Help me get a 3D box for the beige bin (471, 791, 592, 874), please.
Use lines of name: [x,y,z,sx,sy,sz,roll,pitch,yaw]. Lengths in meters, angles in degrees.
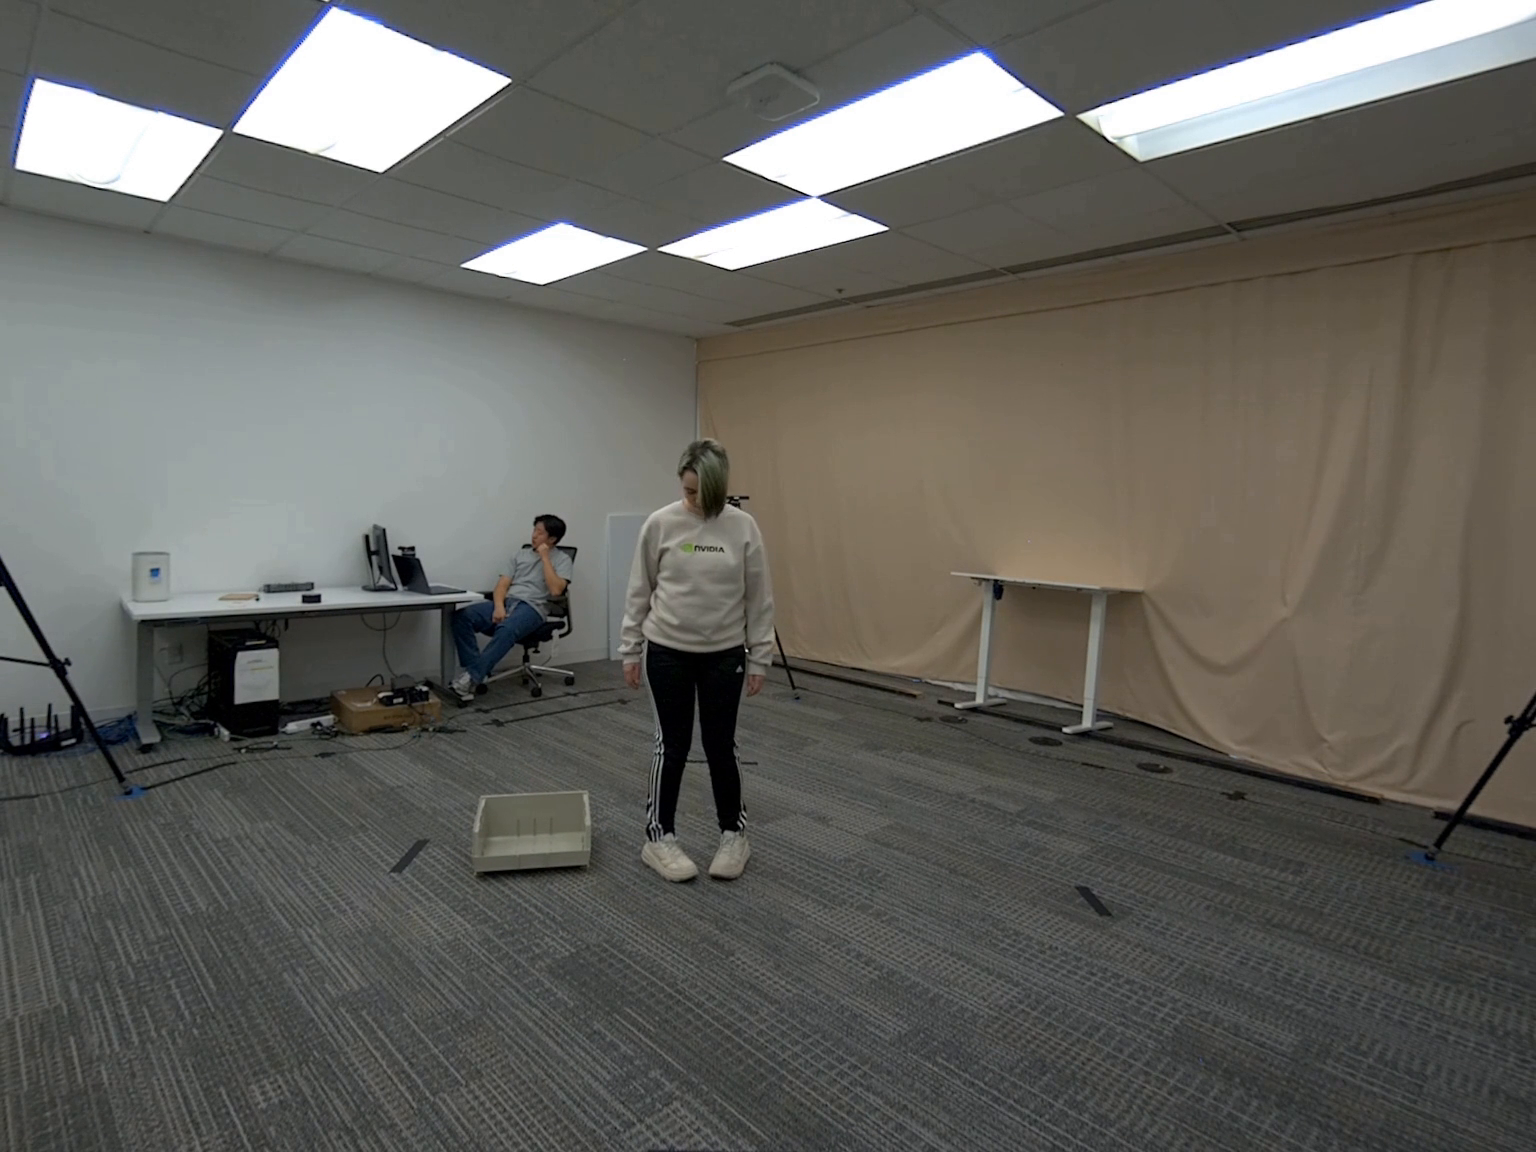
beige bin: [-0.906,0.988,3.224,0.418,0.188,0.382,-1,5,-13]
